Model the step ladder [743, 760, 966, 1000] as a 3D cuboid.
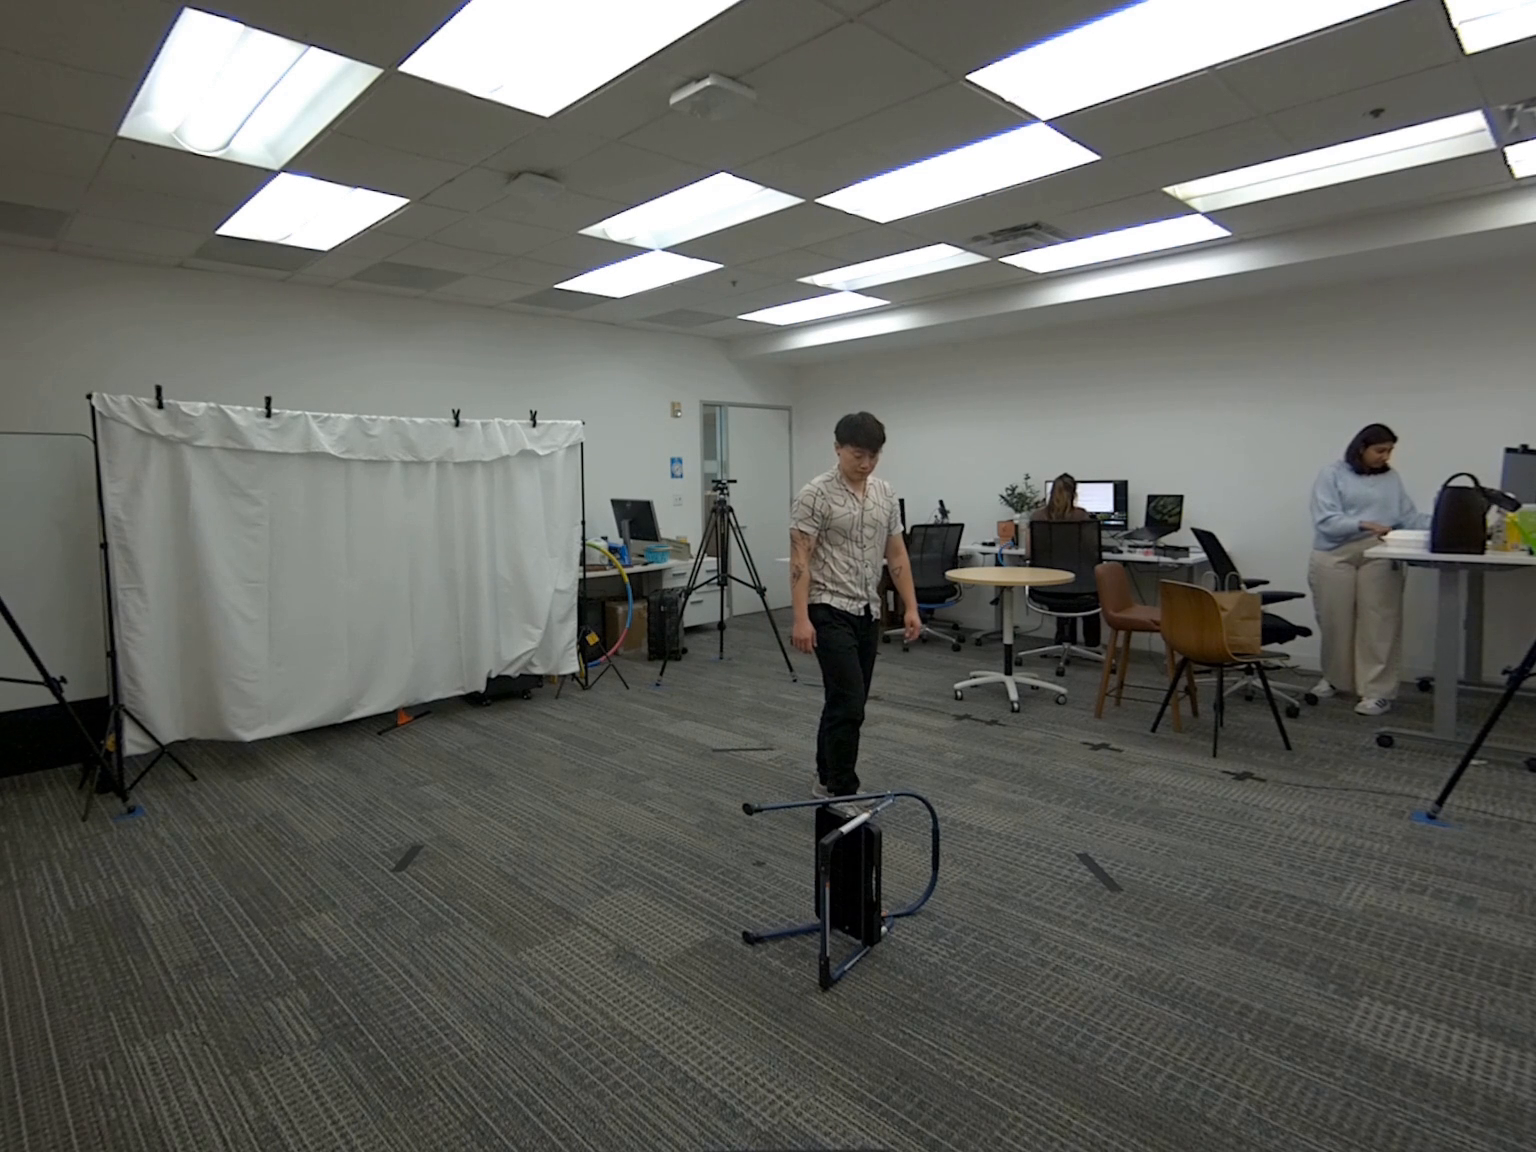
[{"bbox_3d":[0.270,0.888,2.625,0.590,0.428,0.360,-6,8,-40],"label":"step ladder"}]
